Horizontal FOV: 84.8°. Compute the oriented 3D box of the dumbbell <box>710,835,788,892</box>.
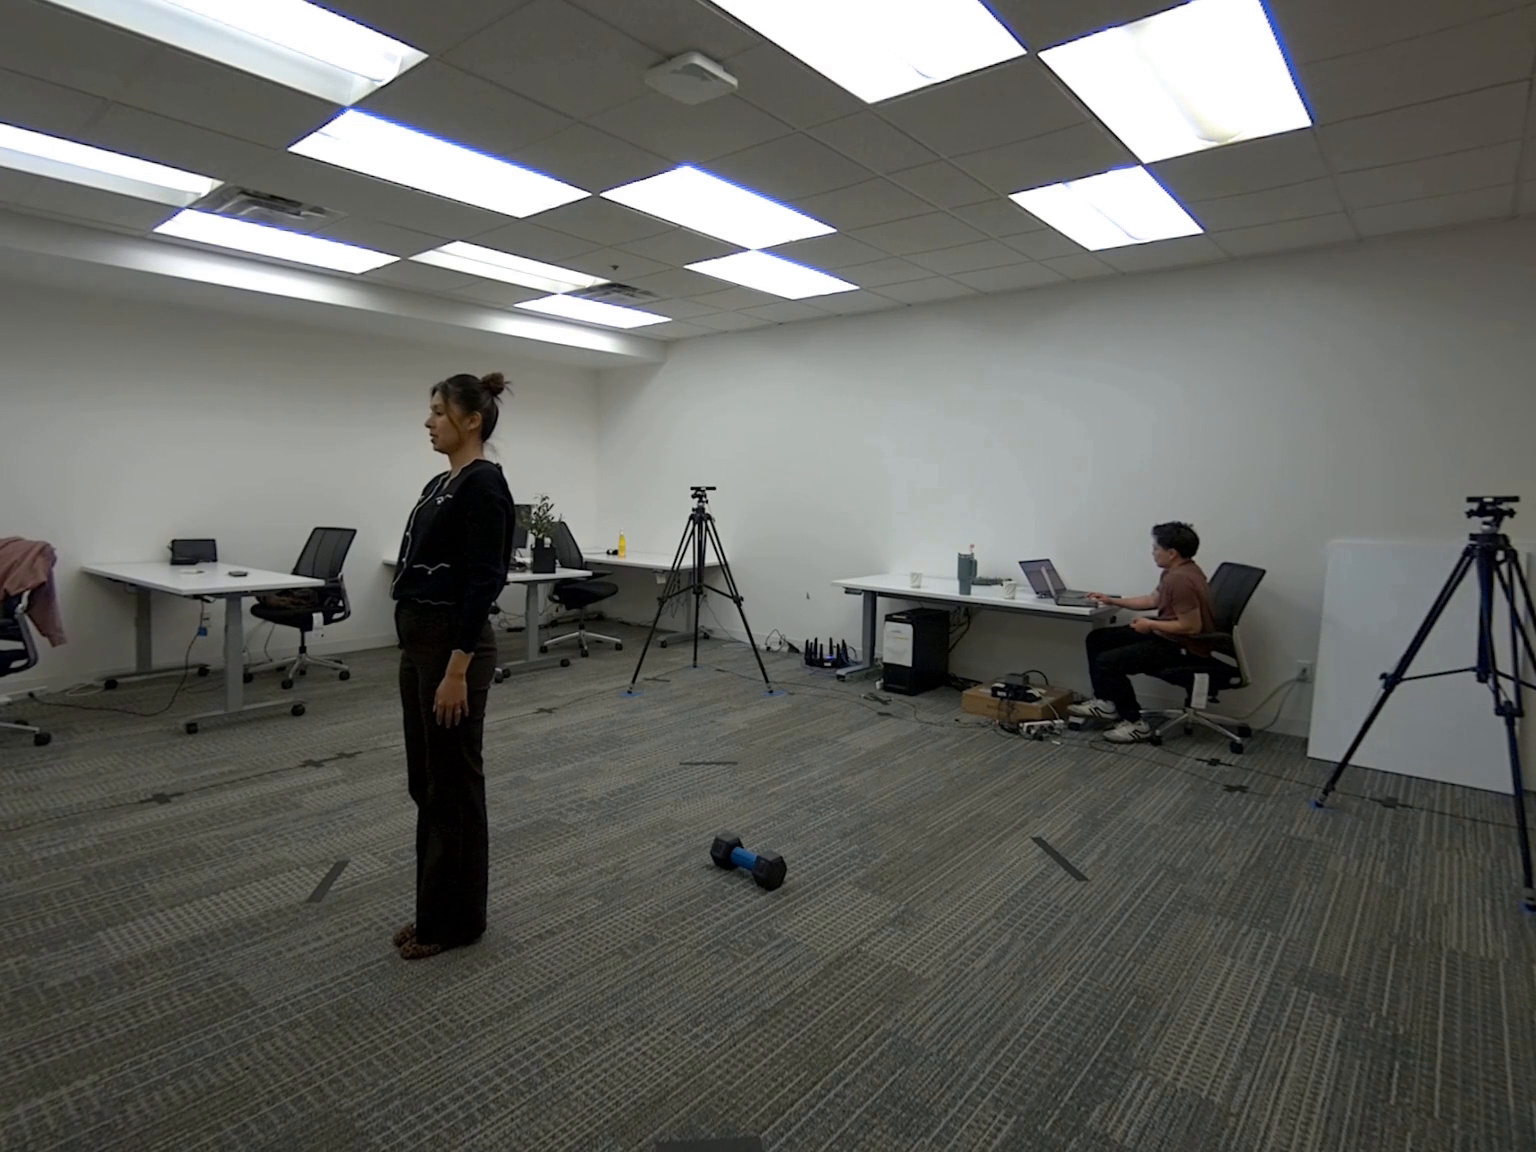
[{"bbox_3d":[-0.082,1.017,3.053,0.303,0.108,0.119,5,6,43],"label":"dumbbell"}]
